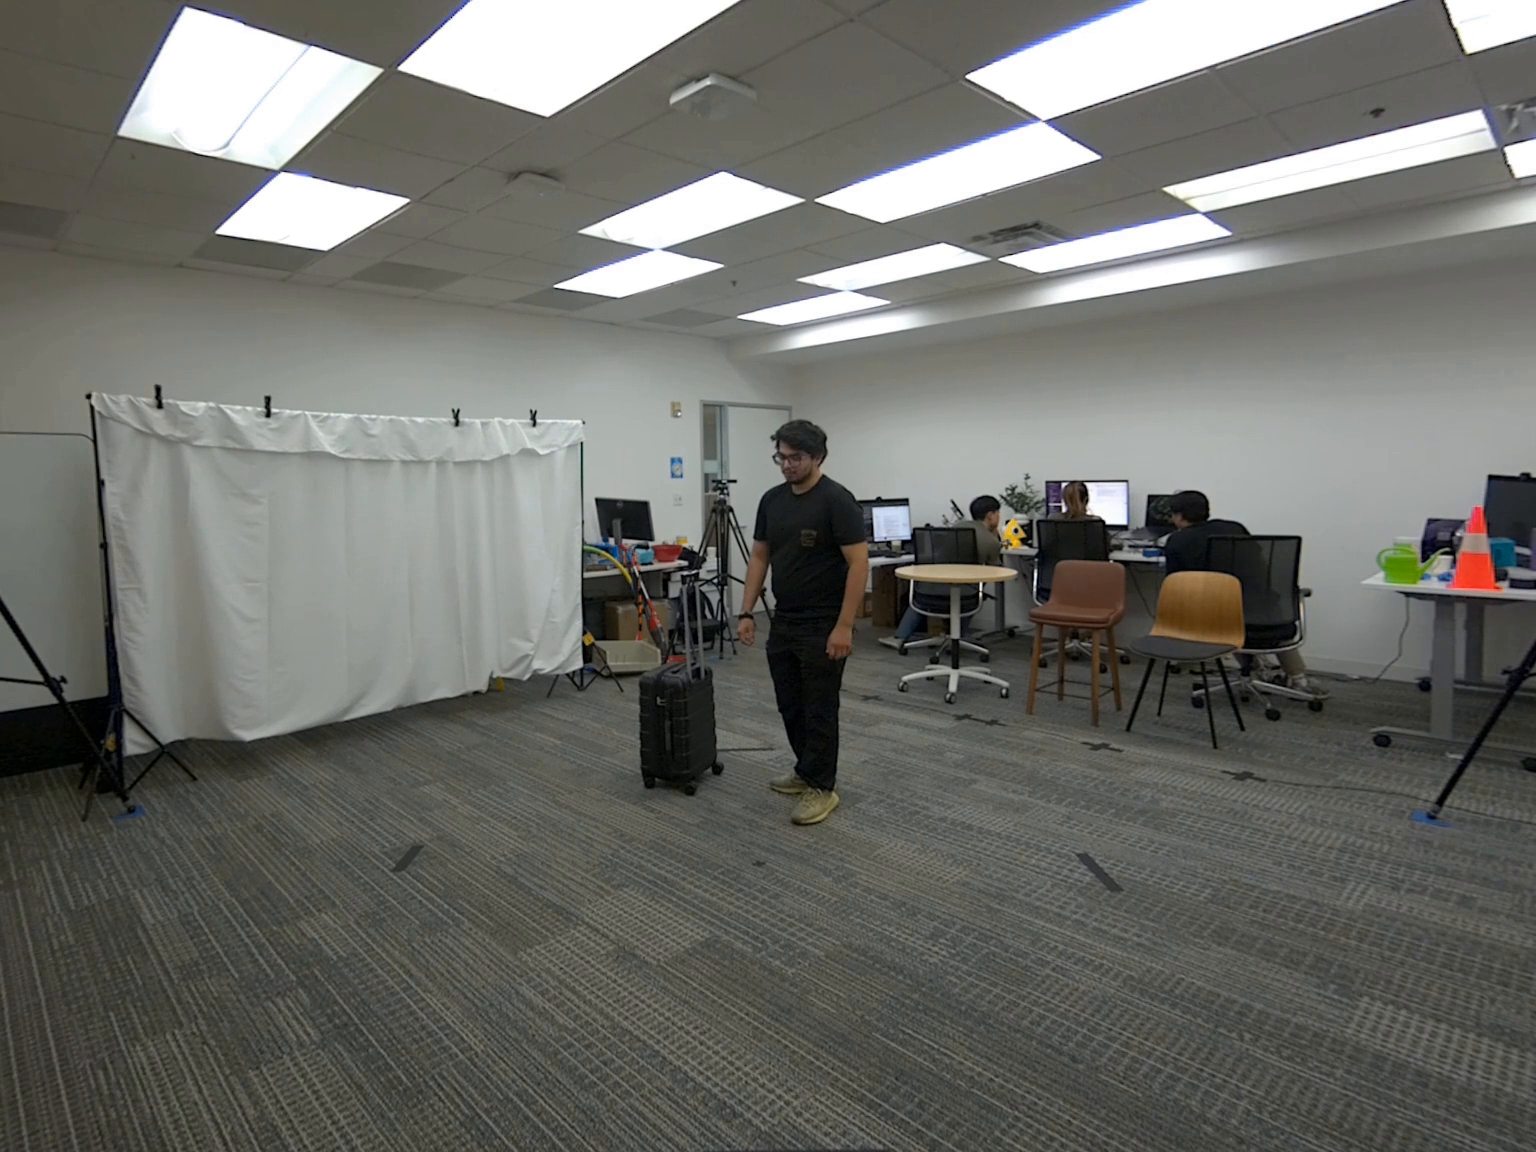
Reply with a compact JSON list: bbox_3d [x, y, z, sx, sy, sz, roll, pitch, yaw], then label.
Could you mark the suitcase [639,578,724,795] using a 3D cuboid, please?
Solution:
[{"bbox_3d":[-0.427,0.483,3.971,0.261,0.975,0.379,-3,3,18],"label":"suitcase"}]
